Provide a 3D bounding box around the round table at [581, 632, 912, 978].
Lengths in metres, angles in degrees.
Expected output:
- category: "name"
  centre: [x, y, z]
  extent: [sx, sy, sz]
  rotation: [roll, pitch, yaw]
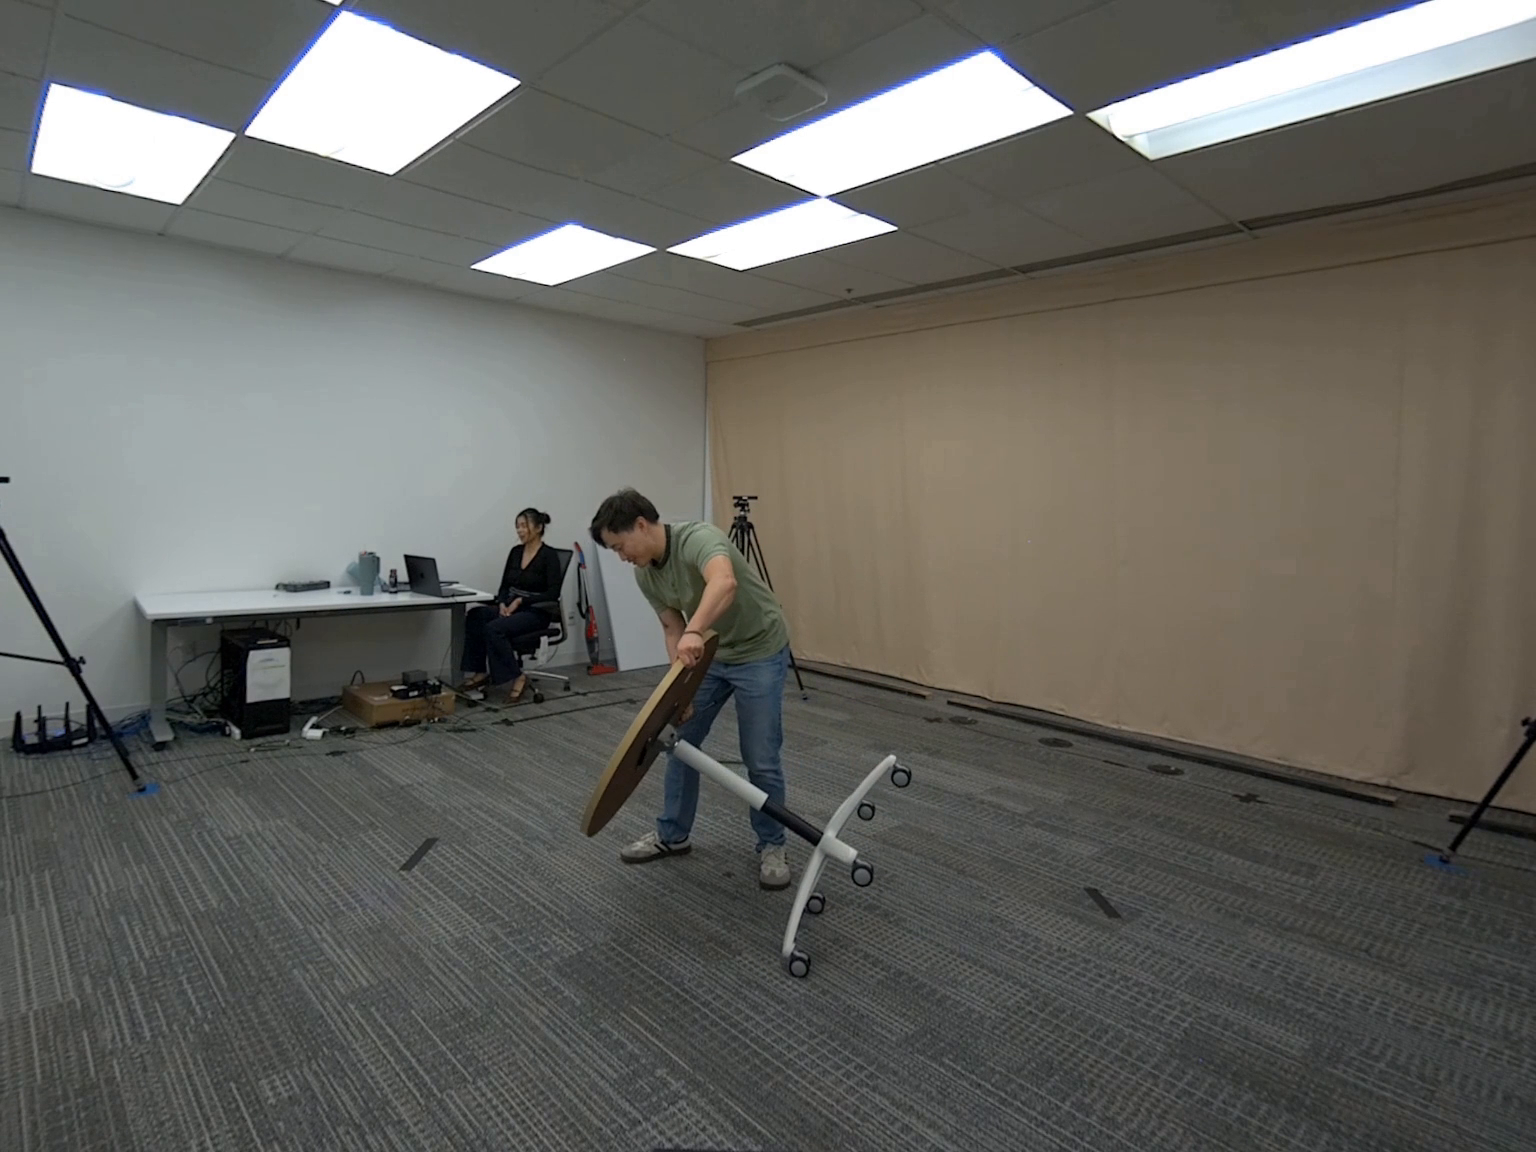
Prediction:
- category: "round table"
  centre: [-0.055, 0.709, 2.699]
  extent: [0.802, 0.762, 0.758]
  rotation: [31, 9, 8]
